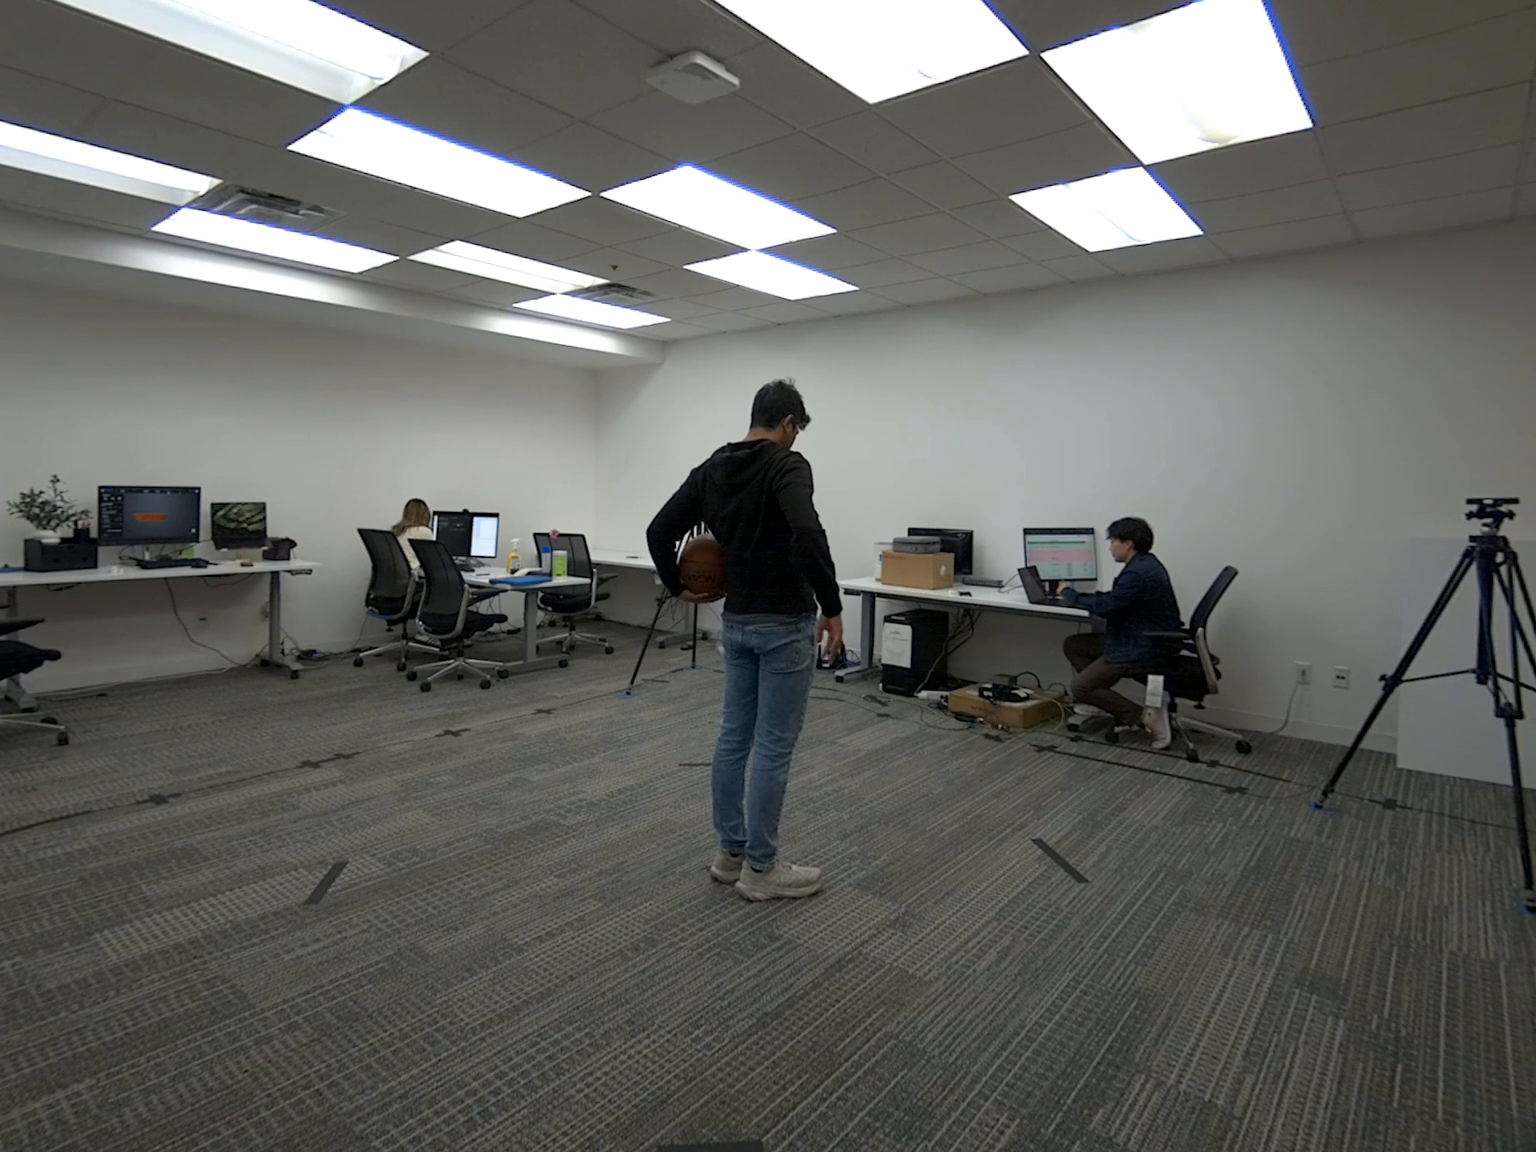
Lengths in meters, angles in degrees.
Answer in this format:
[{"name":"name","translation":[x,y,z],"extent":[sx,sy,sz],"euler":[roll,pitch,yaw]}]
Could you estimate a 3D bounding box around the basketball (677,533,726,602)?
[{"name":"basketball","translation":[-0.215,-0.052,3.180],"extent":[0.235,0.235,0.237],"euler":[1,4,-2]}]
